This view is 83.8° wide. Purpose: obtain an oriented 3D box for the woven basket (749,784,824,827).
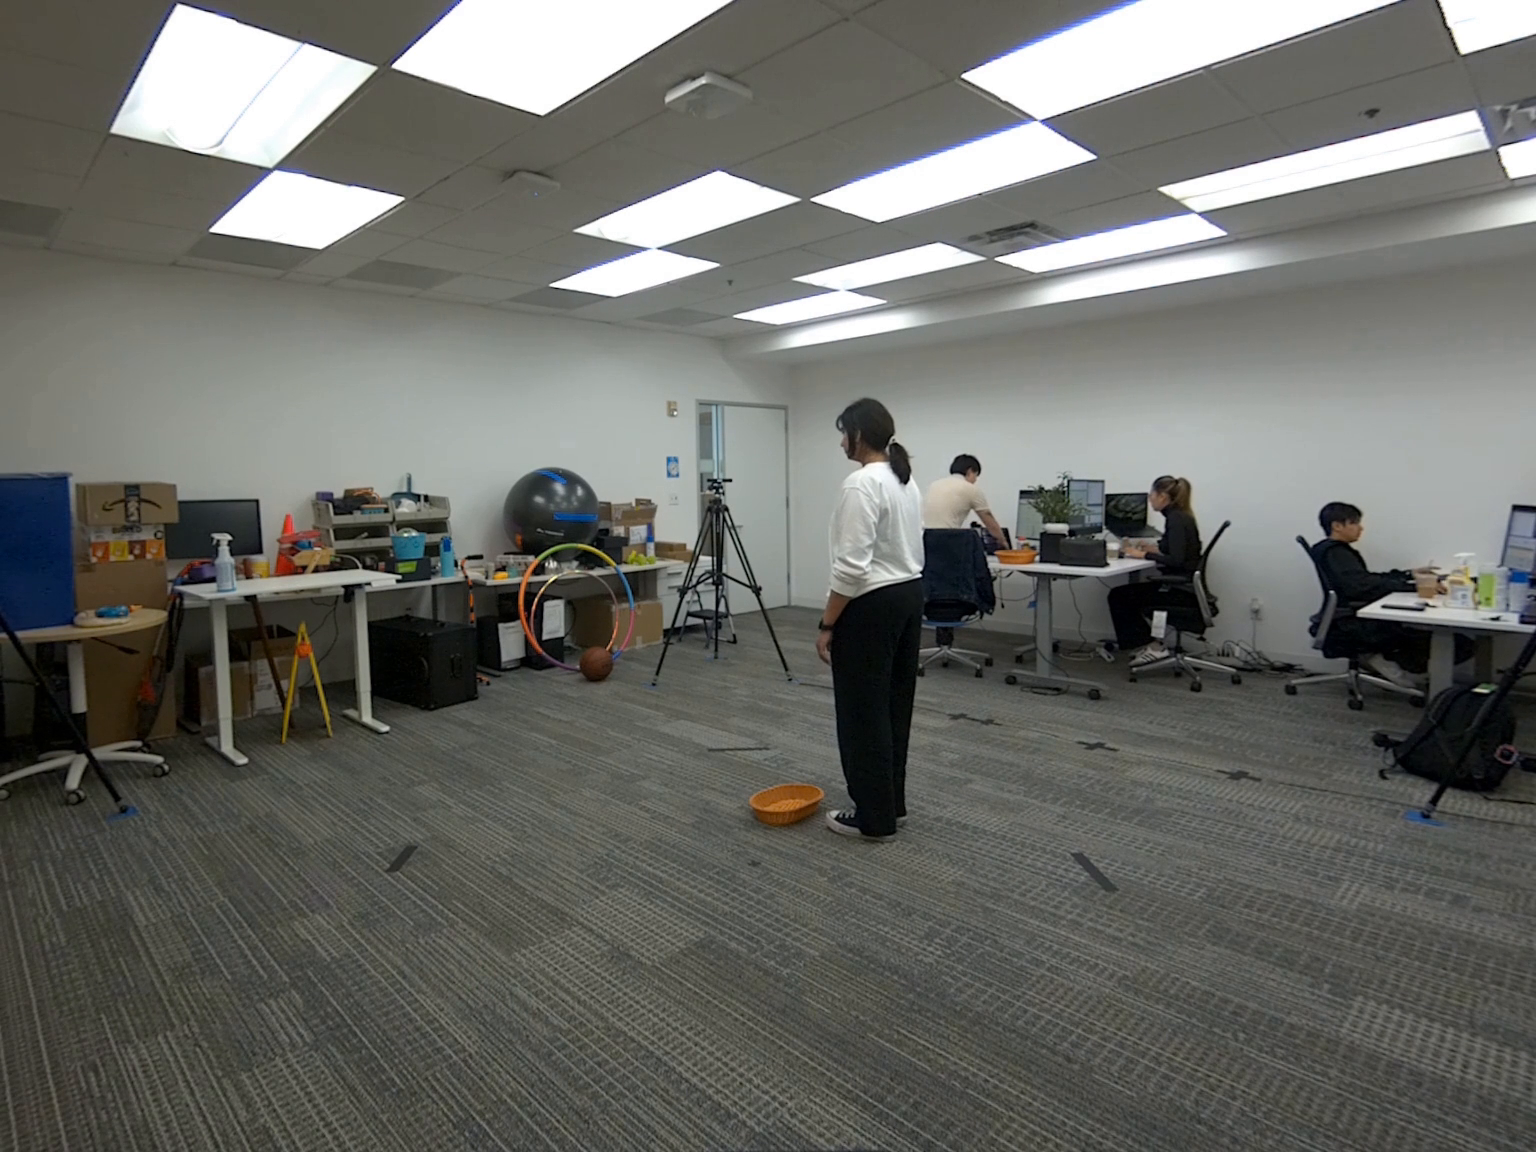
[{"bbox_3d":[0.081,0.950,3.568,0.341,0.073,0.260,-7,7,-43],"label":"woven basket"}]
